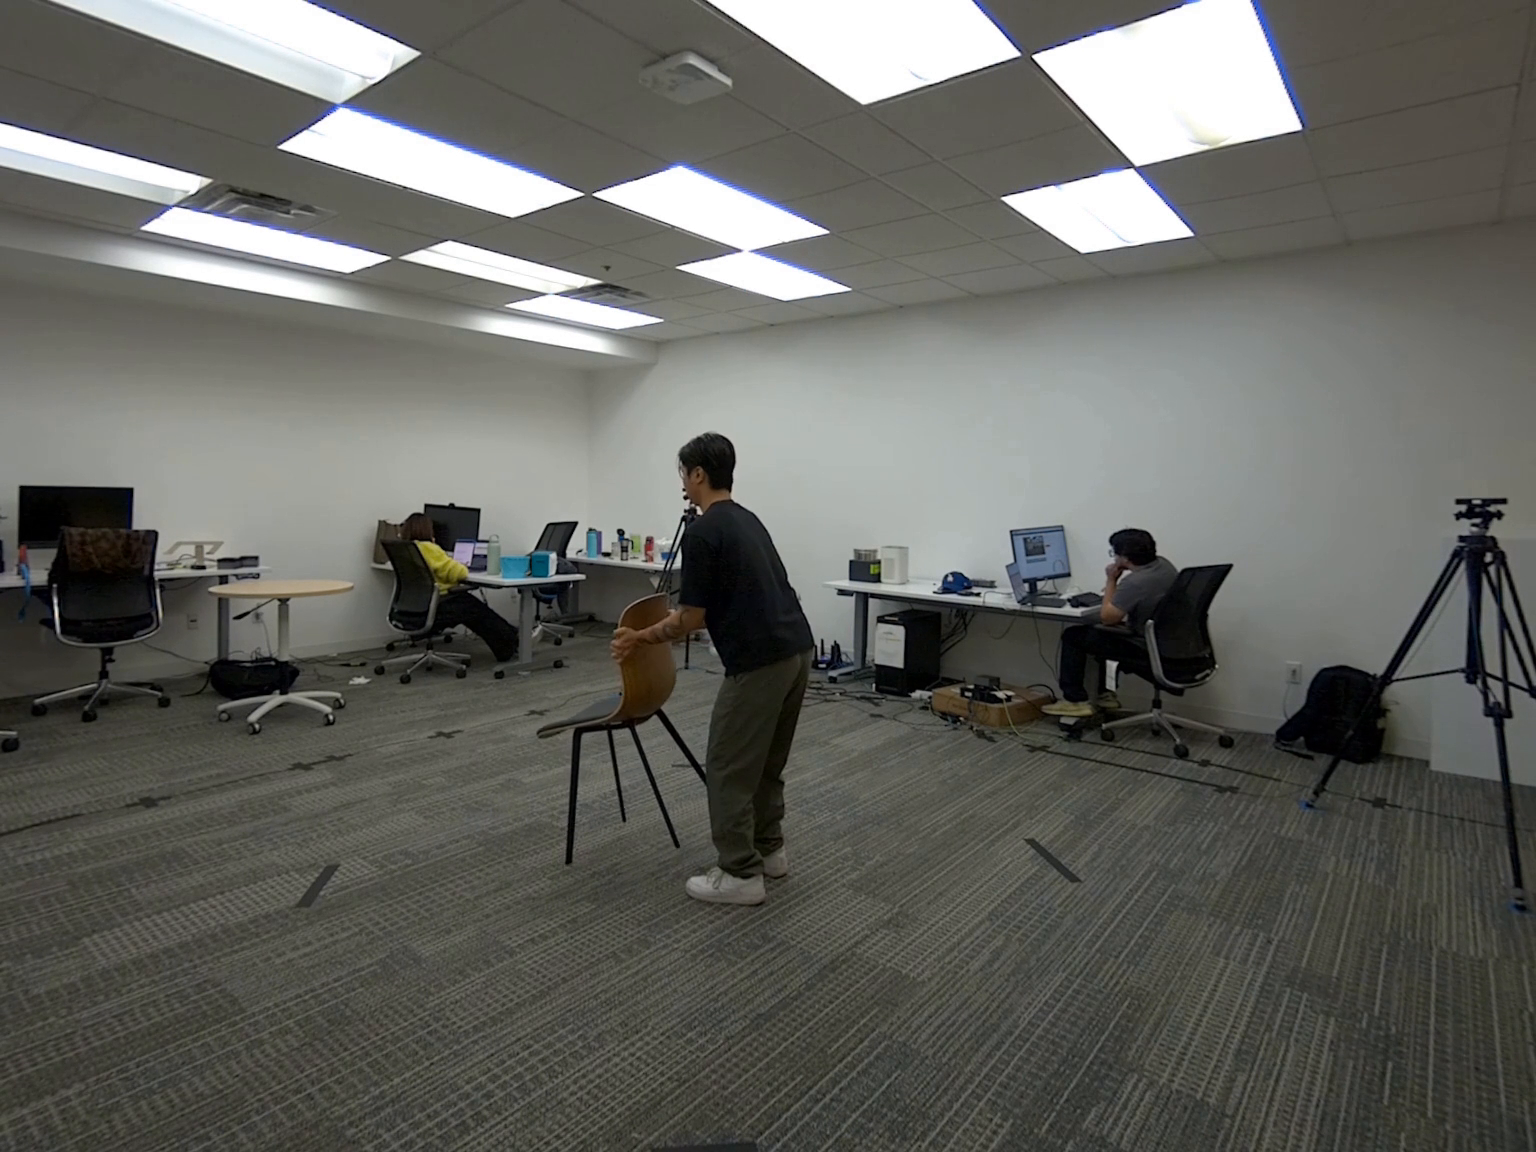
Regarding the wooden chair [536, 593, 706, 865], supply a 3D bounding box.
[{"bbox_3d":[-0.569,0.543,3.171,0.532,0.879,0.469,-11,-1,20],"label":"wooden chair"}]
